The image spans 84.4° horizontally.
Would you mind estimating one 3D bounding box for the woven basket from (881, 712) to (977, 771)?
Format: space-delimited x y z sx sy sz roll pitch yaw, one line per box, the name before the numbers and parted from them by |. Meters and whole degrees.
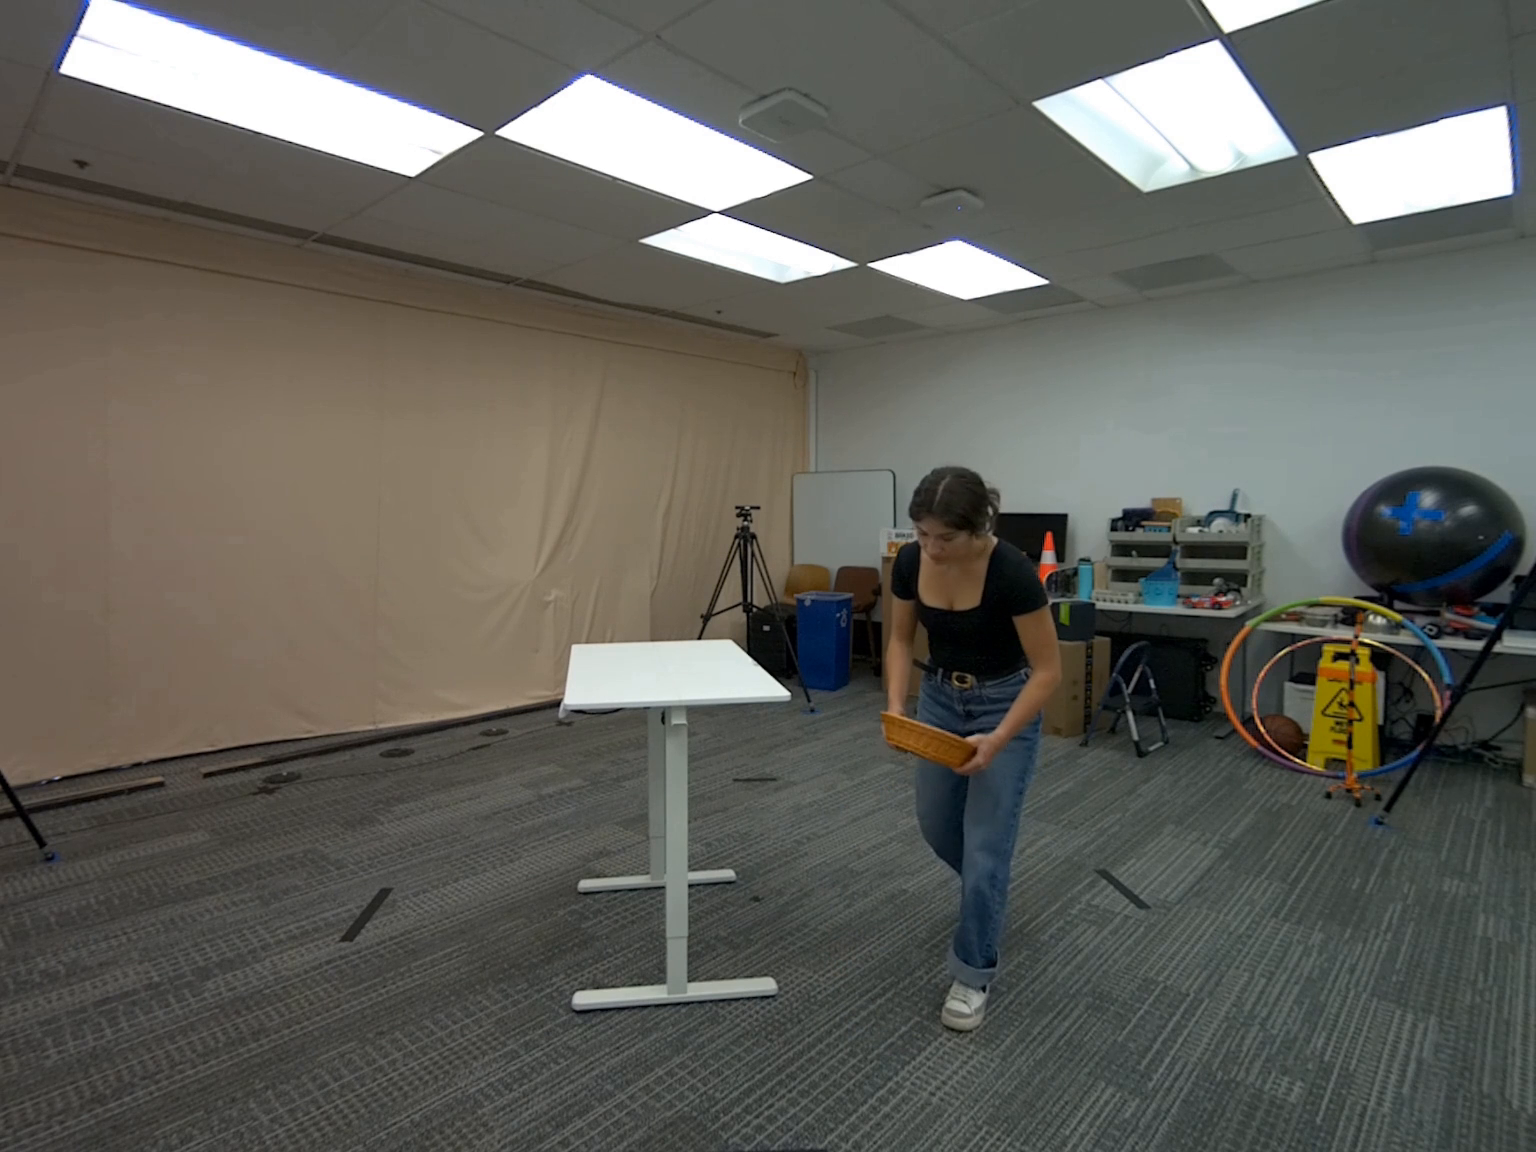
woven basket | 0.427 0.438 2.154 0.345 0.073 0.256 23 -10 -14
